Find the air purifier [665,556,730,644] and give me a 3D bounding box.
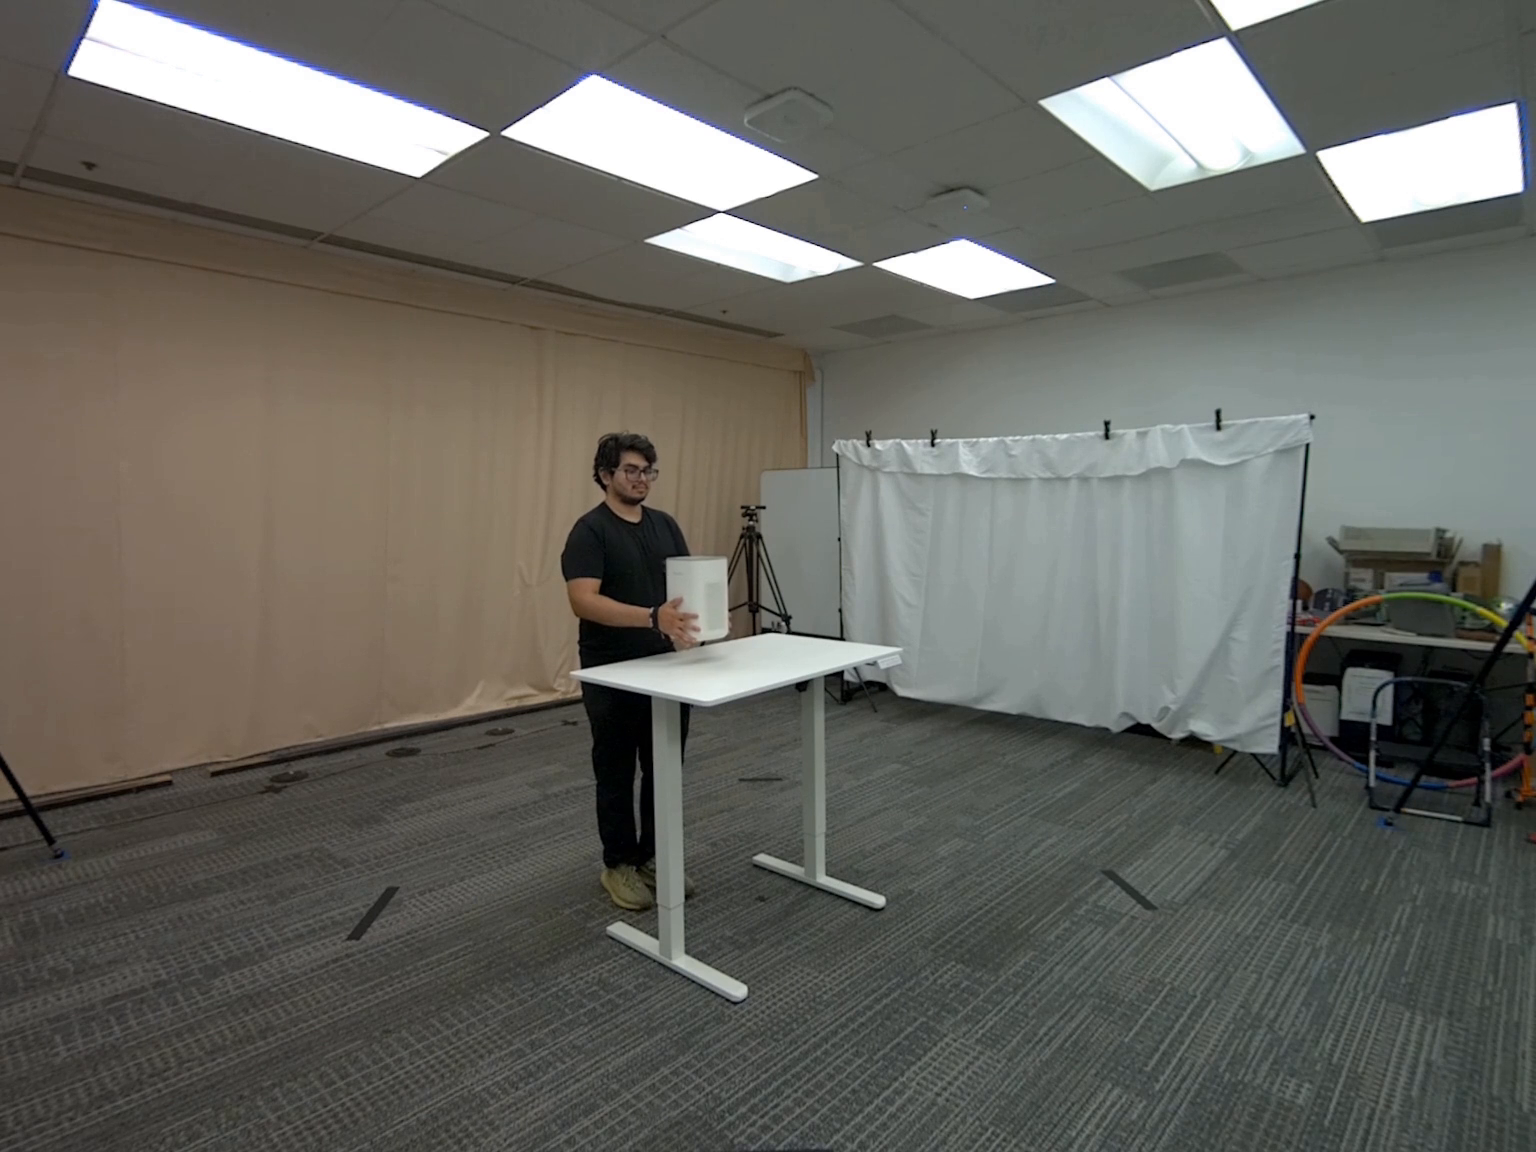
[{"bbox_3d":[-0.226,0.071,2.751,0.176,0.265,0.166,1,5,39],"label":"air purifier"}]
